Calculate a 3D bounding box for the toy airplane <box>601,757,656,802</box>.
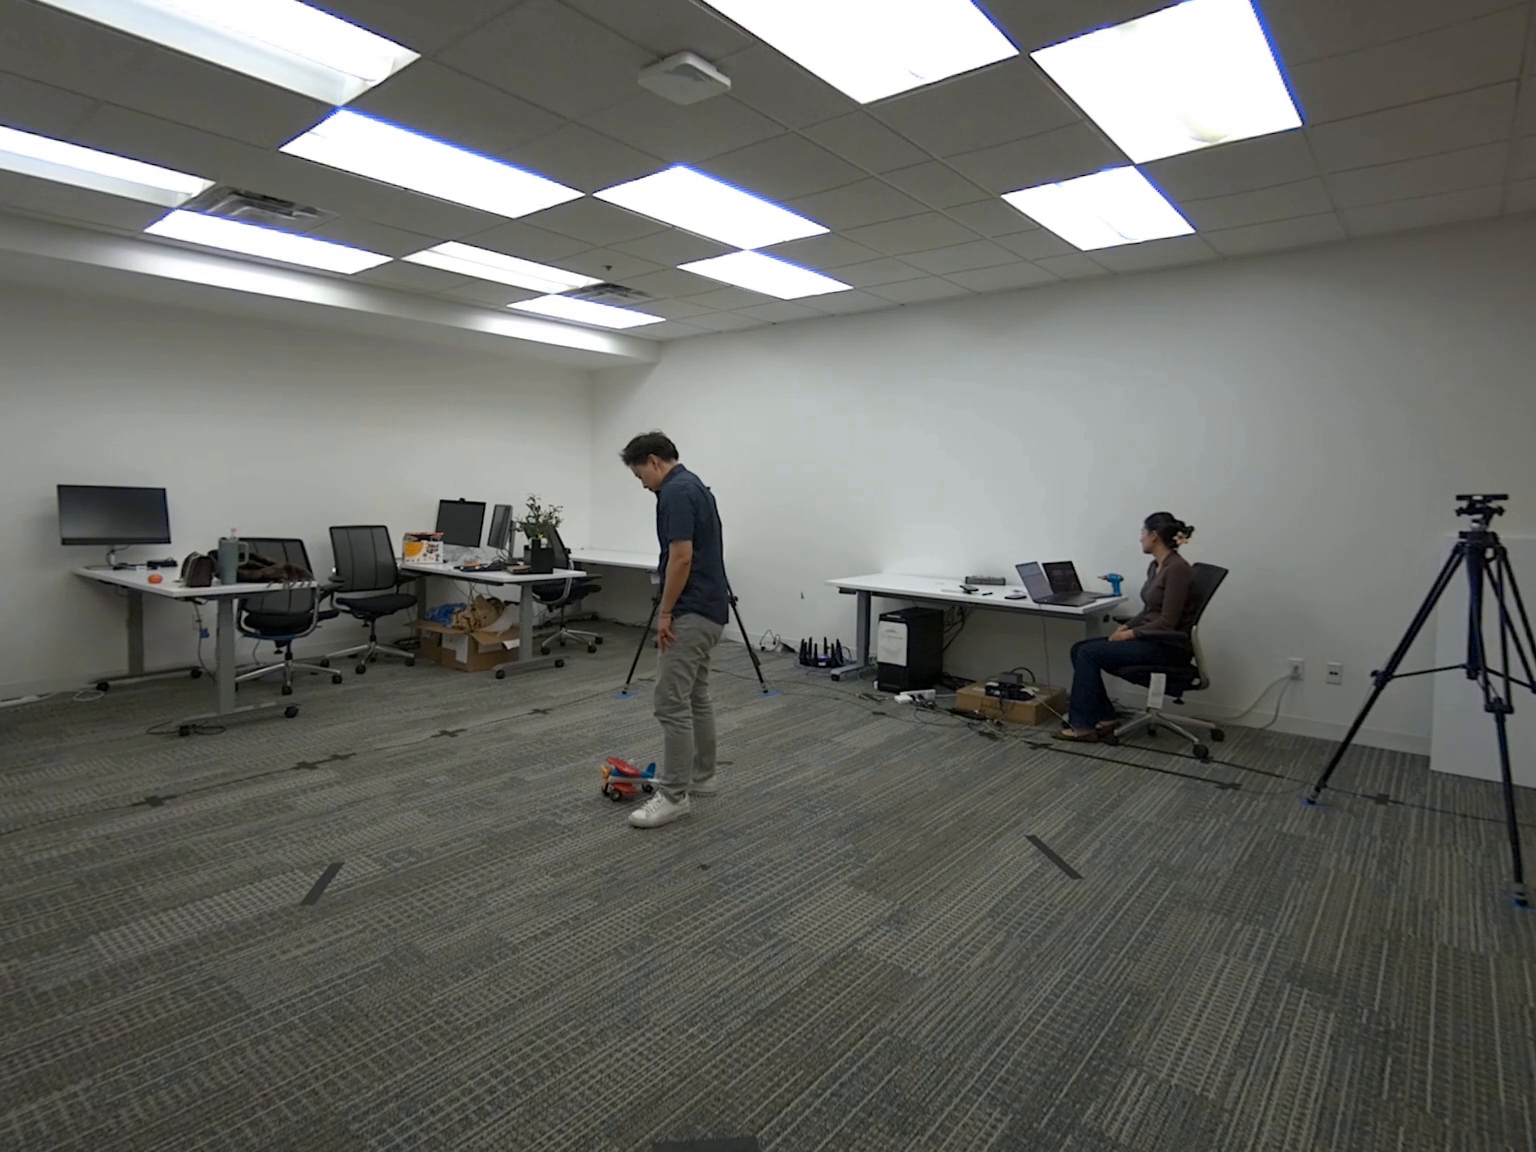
[{"bbox_3d":[-0.664,0.916,3.863,0.258,0.156,0.253,2,5,28],"label":"toy airplane"}]
